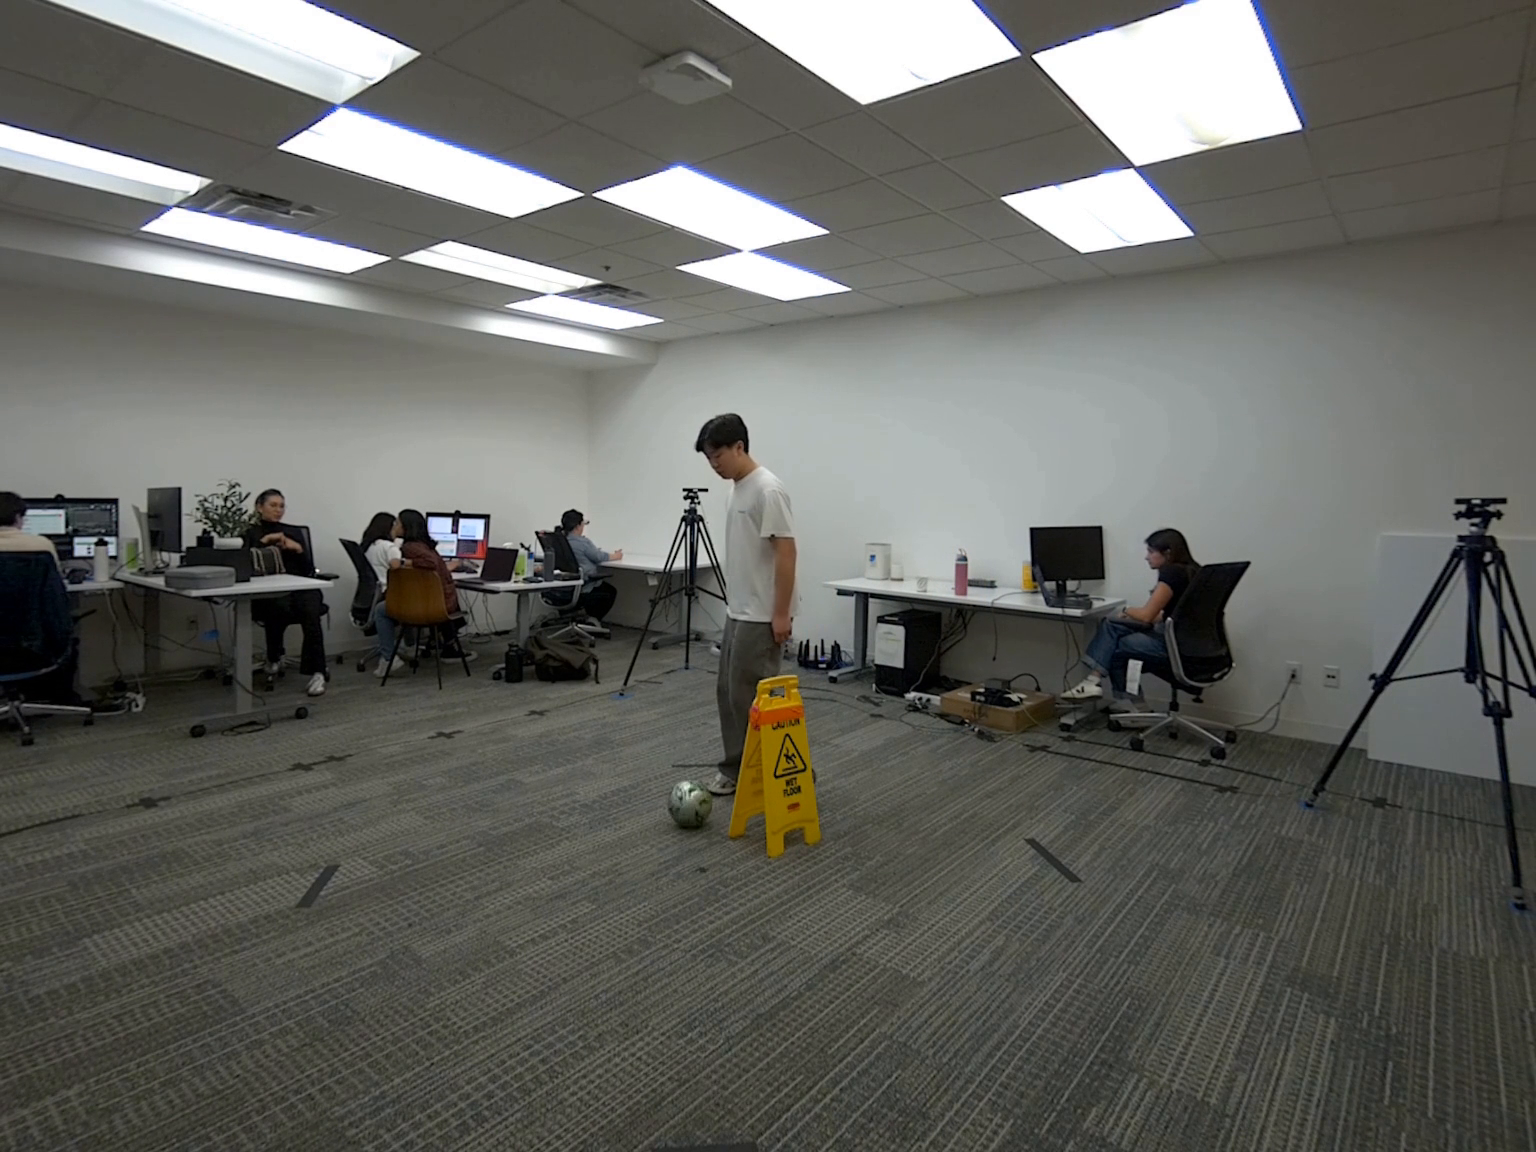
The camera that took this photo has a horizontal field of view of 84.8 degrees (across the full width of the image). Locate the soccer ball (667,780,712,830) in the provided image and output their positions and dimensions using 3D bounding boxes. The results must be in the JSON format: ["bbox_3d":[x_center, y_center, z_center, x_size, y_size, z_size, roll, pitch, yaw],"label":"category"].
[{"bbox_3d":[-0.325,0.929,3.522,0.187,0.187,0.188,1,4,-2],"label":"soccer ball"}]
